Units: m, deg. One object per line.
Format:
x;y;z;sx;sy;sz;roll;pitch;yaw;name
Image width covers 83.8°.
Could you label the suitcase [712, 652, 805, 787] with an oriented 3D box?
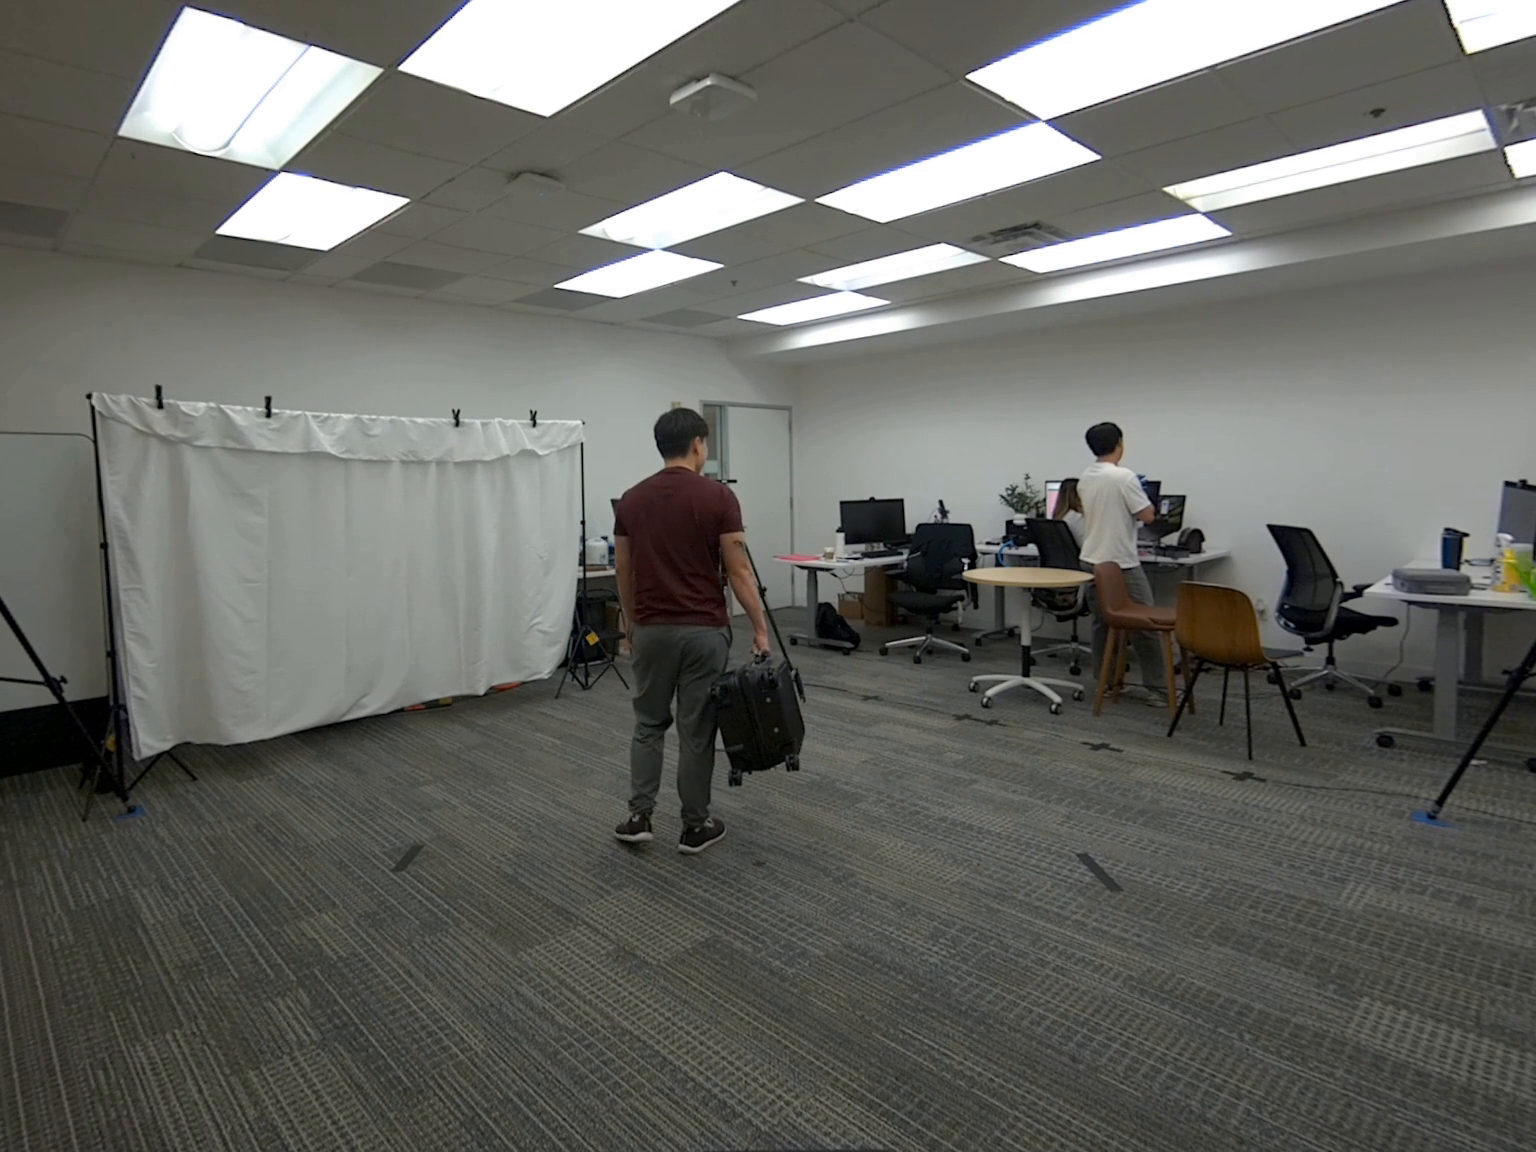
-0.011;0.507;3.383;0.258;0.385;0.971;-15;-2;4;suitcase
